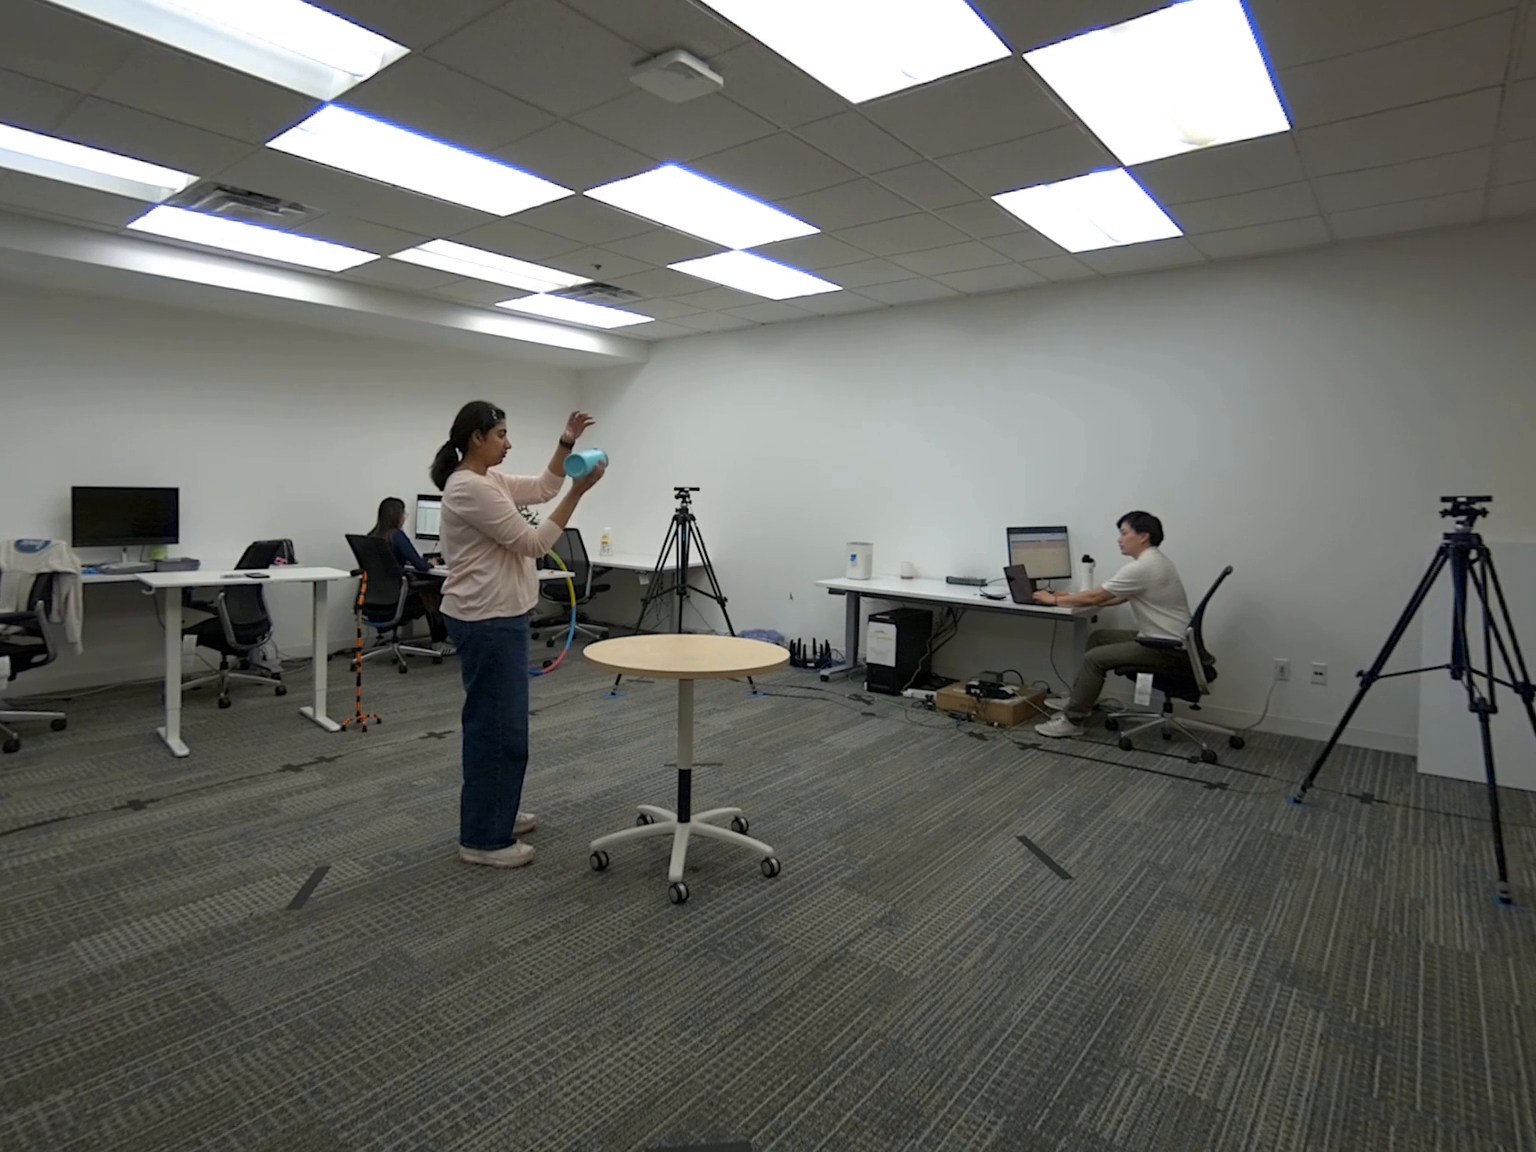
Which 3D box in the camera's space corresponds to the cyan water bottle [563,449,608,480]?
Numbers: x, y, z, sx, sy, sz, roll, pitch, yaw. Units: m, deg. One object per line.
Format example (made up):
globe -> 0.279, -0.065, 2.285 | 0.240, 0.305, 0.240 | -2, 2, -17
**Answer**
cyan water bottle -> -0.677, -0.428, 3.152 | 0.093, 0.091, 0.284 | 1, 13, 6
